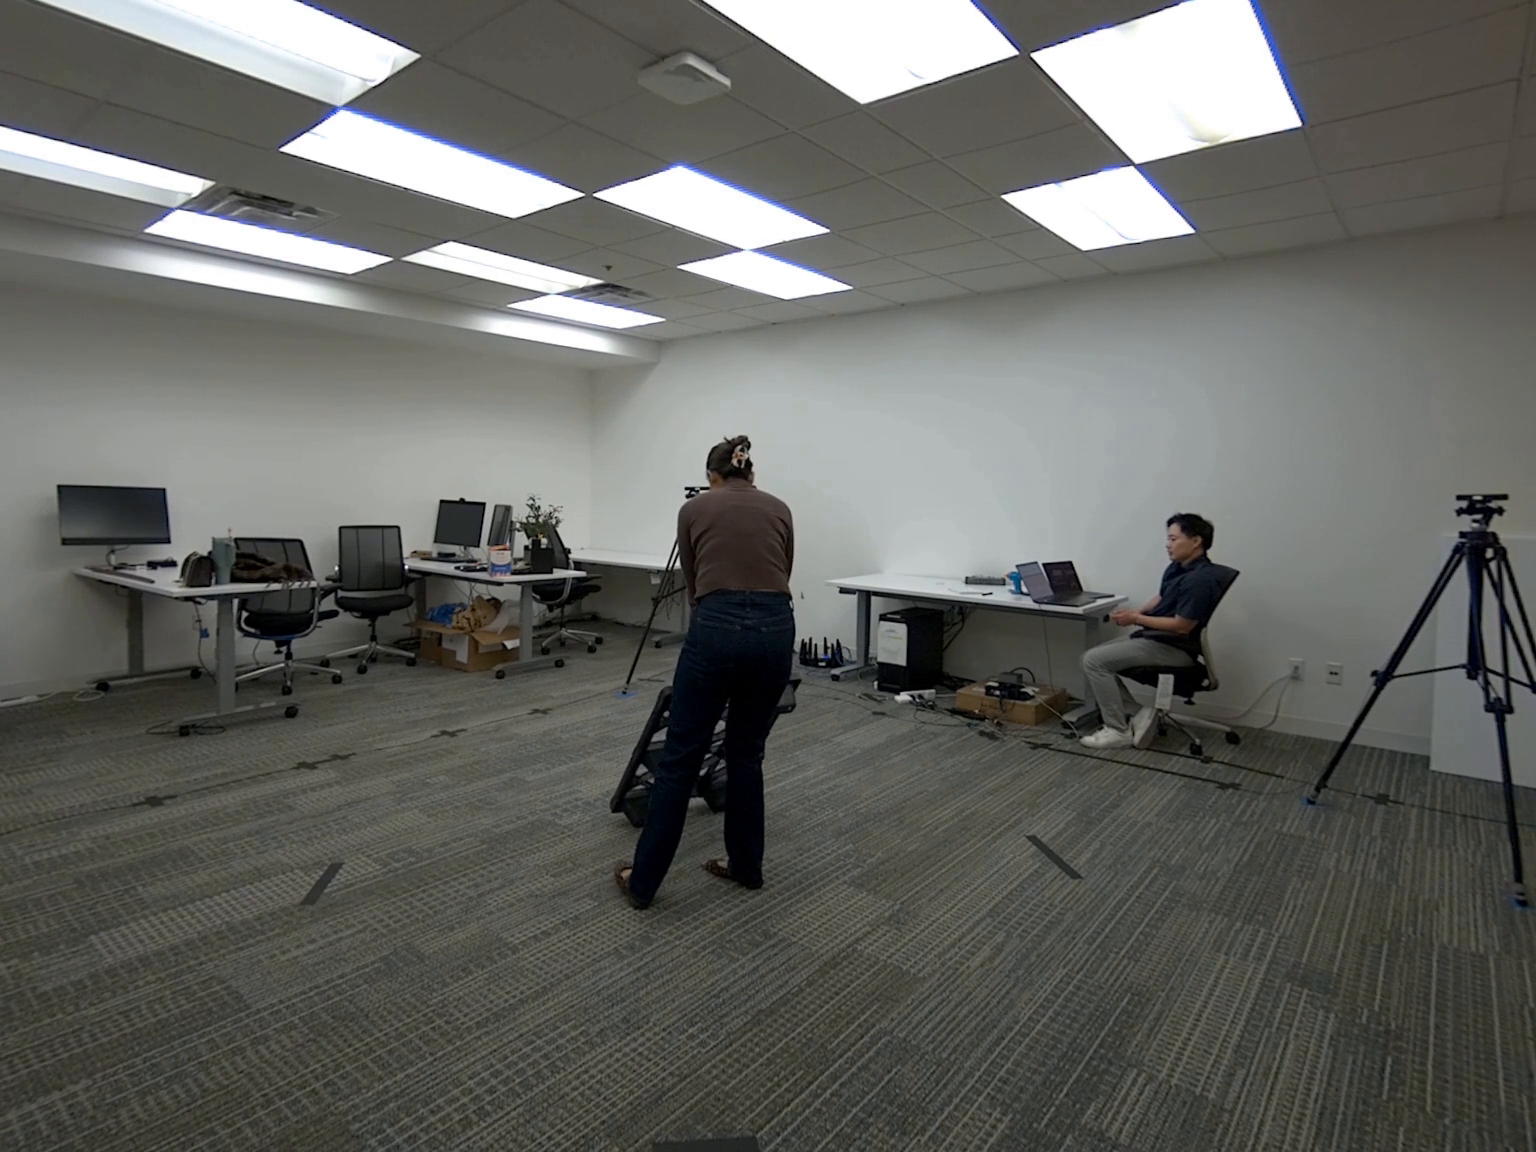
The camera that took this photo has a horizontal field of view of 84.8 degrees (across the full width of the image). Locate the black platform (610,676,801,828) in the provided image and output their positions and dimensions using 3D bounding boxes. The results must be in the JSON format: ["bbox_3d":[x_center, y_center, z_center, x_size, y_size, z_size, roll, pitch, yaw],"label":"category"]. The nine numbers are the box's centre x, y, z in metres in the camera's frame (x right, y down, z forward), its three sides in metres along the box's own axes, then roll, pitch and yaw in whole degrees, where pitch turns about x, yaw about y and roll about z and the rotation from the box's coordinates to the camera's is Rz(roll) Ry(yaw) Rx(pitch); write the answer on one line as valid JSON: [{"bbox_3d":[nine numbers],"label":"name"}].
[{"bbox_3d":[-0.260,0.708,3.399,0.589,0.795,0.149,-2,45,-31],"label":"black platform"}]
